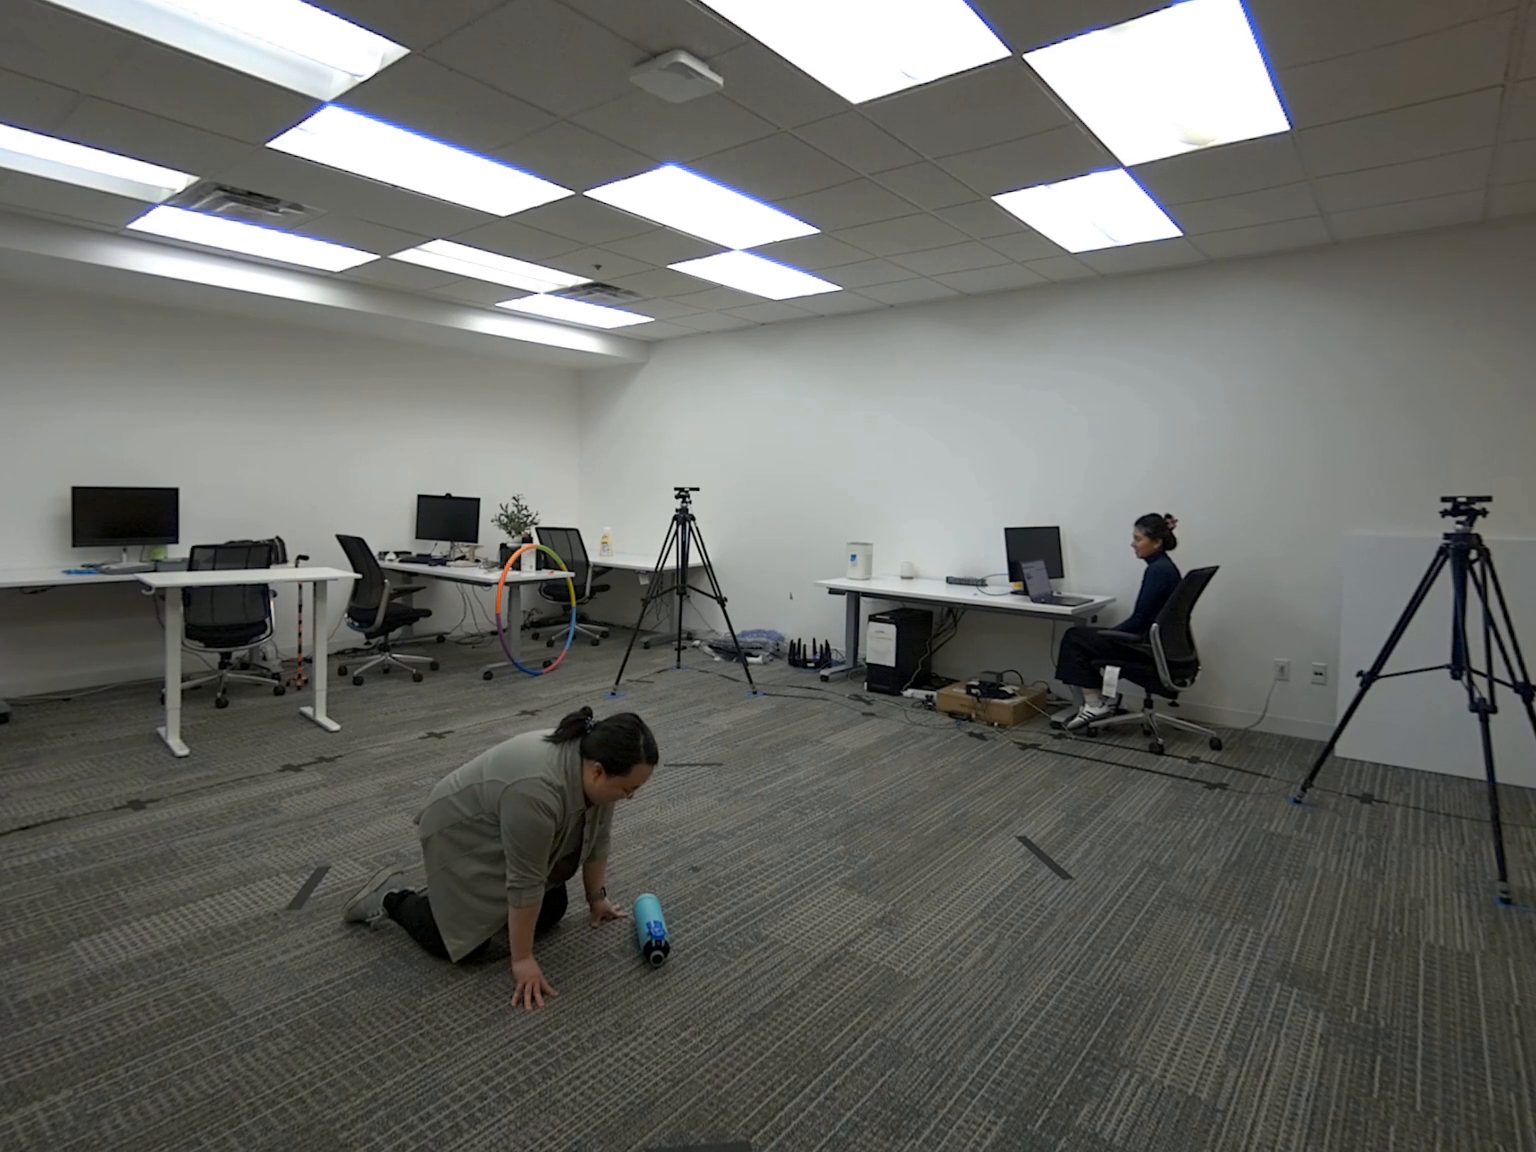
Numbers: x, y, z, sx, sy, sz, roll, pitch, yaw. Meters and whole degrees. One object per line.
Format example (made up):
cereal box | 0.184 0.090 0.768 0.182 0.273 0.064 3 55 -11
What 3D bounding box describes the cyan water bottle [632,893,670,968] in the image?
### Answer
cyan water bottle | -0.362 1.072 2.575 0.091 0.092 0.289 0 6 -14
